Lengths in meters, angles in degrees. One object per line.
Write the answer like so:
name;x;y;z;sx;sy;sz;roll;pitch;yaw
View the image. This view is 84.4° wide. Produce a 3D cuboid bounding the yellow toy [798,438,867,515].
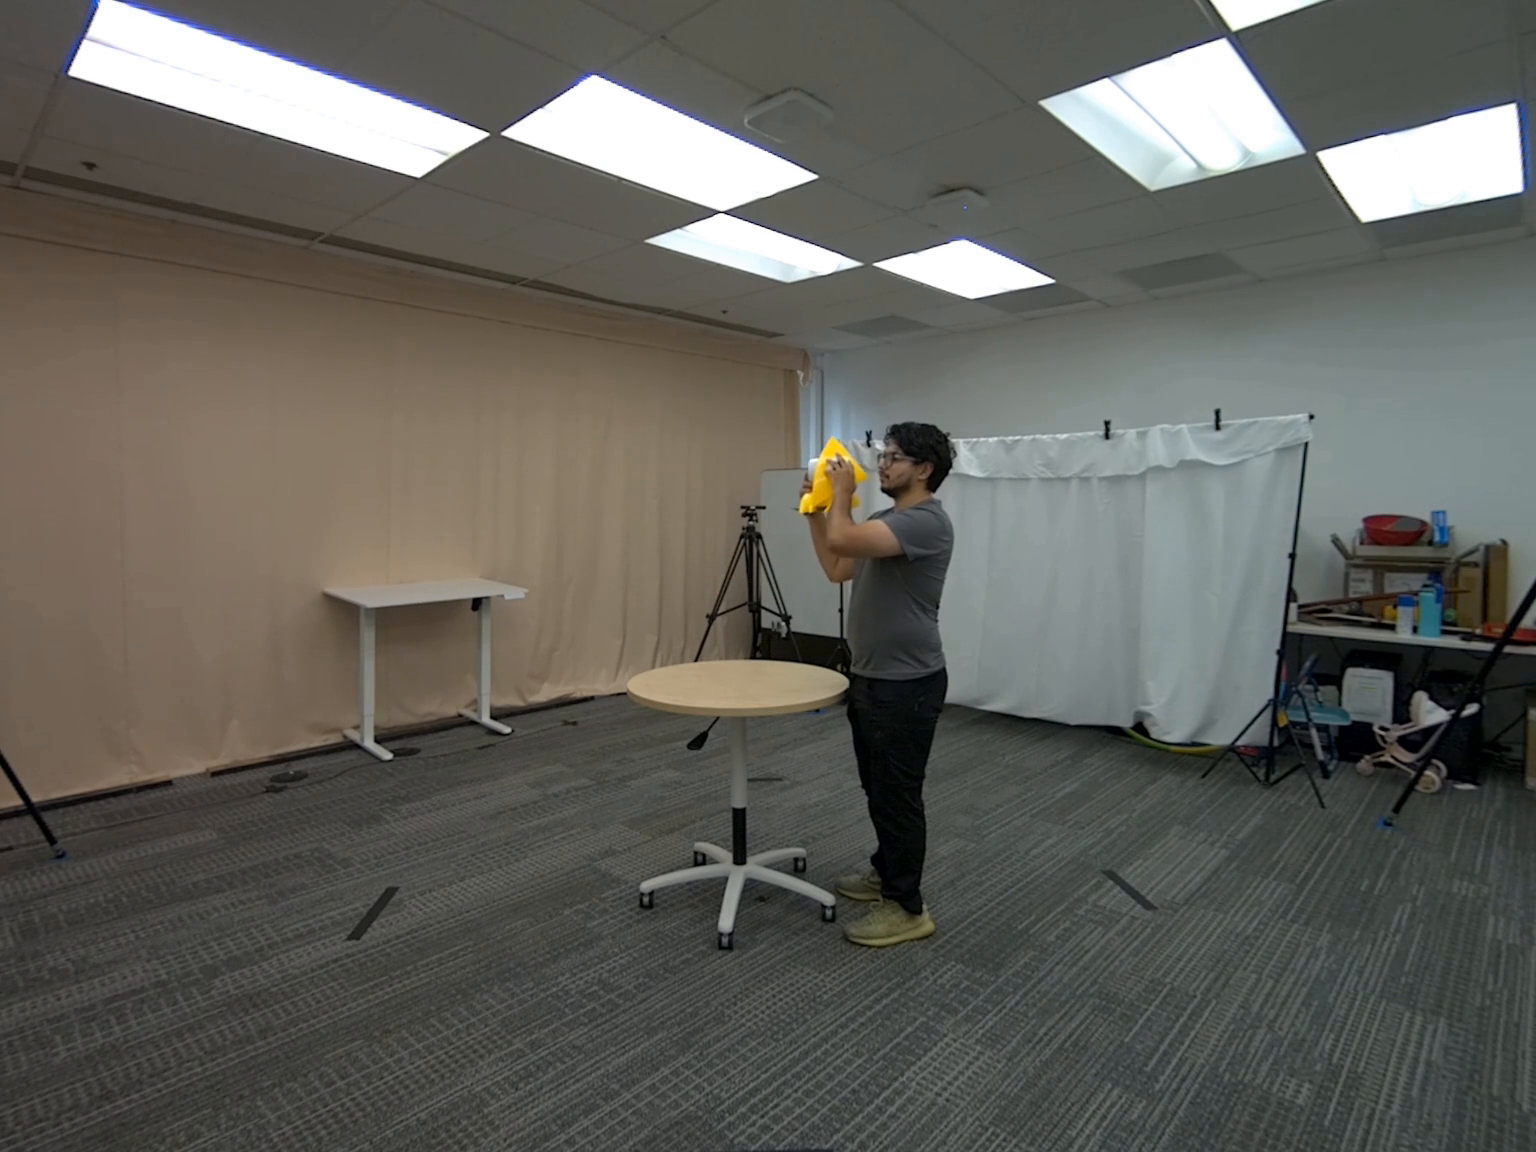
yellow toy;0.200;-0.336;2.808;0.211;0.228;0.189;3;20;45
